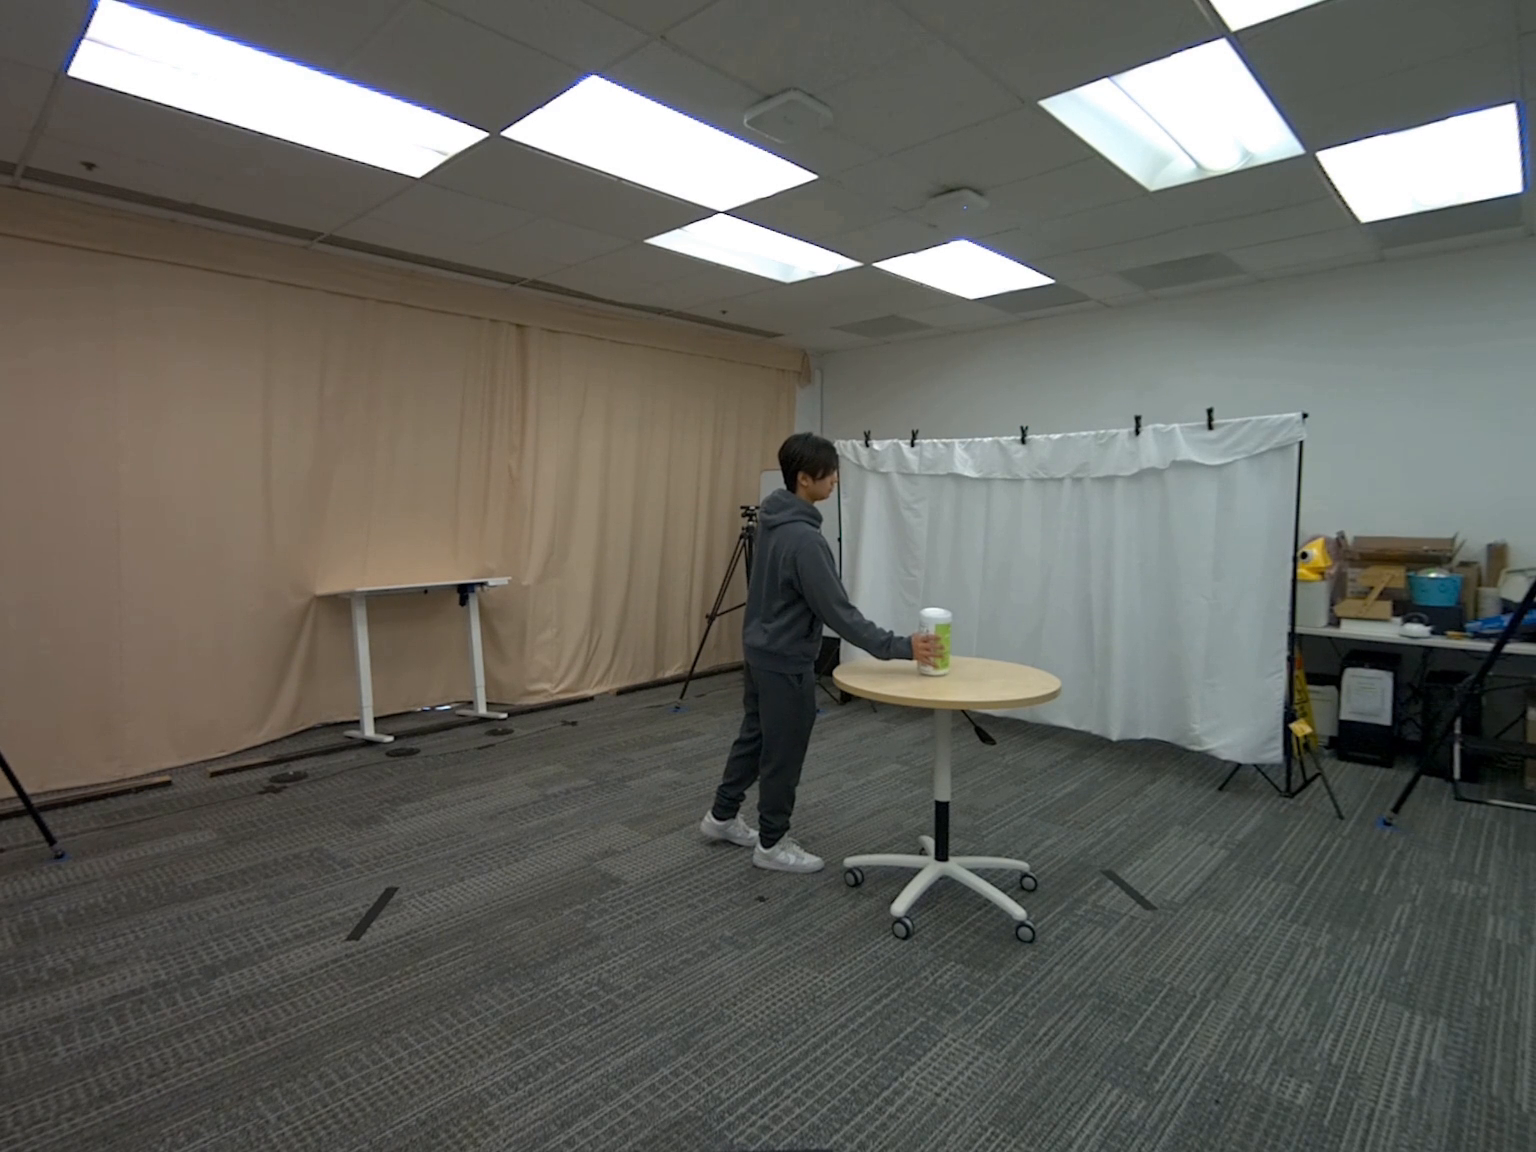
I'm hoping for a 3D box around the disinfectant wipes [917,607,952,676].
[{"bbox_3d":[0.588,0.232,2.940,0.118,0.216,0.119,-1,10,-2],"label":"disinfectant wipes"}]
